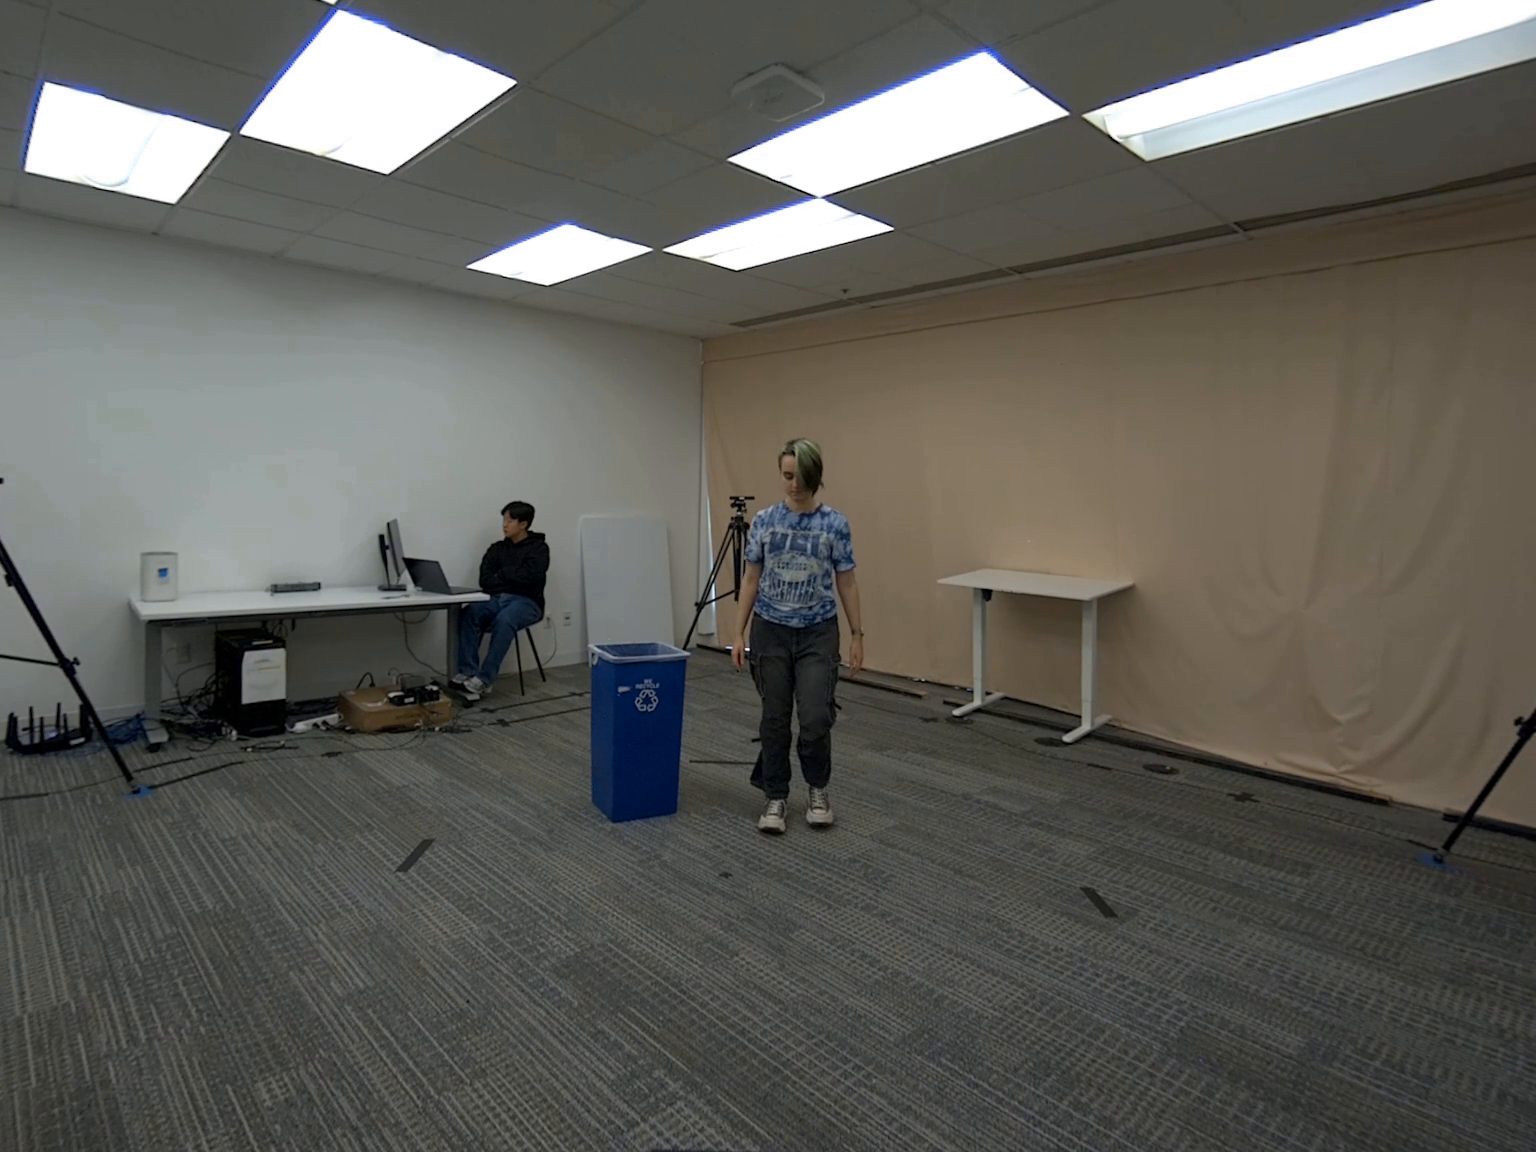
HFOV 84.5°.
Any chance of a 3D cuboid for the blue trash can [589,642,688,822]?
[{"bbox_3d":[-0.593,0.677,3.761,0.366,0.712,0.387,0,4,-30],"label":"blue trash can"}]
